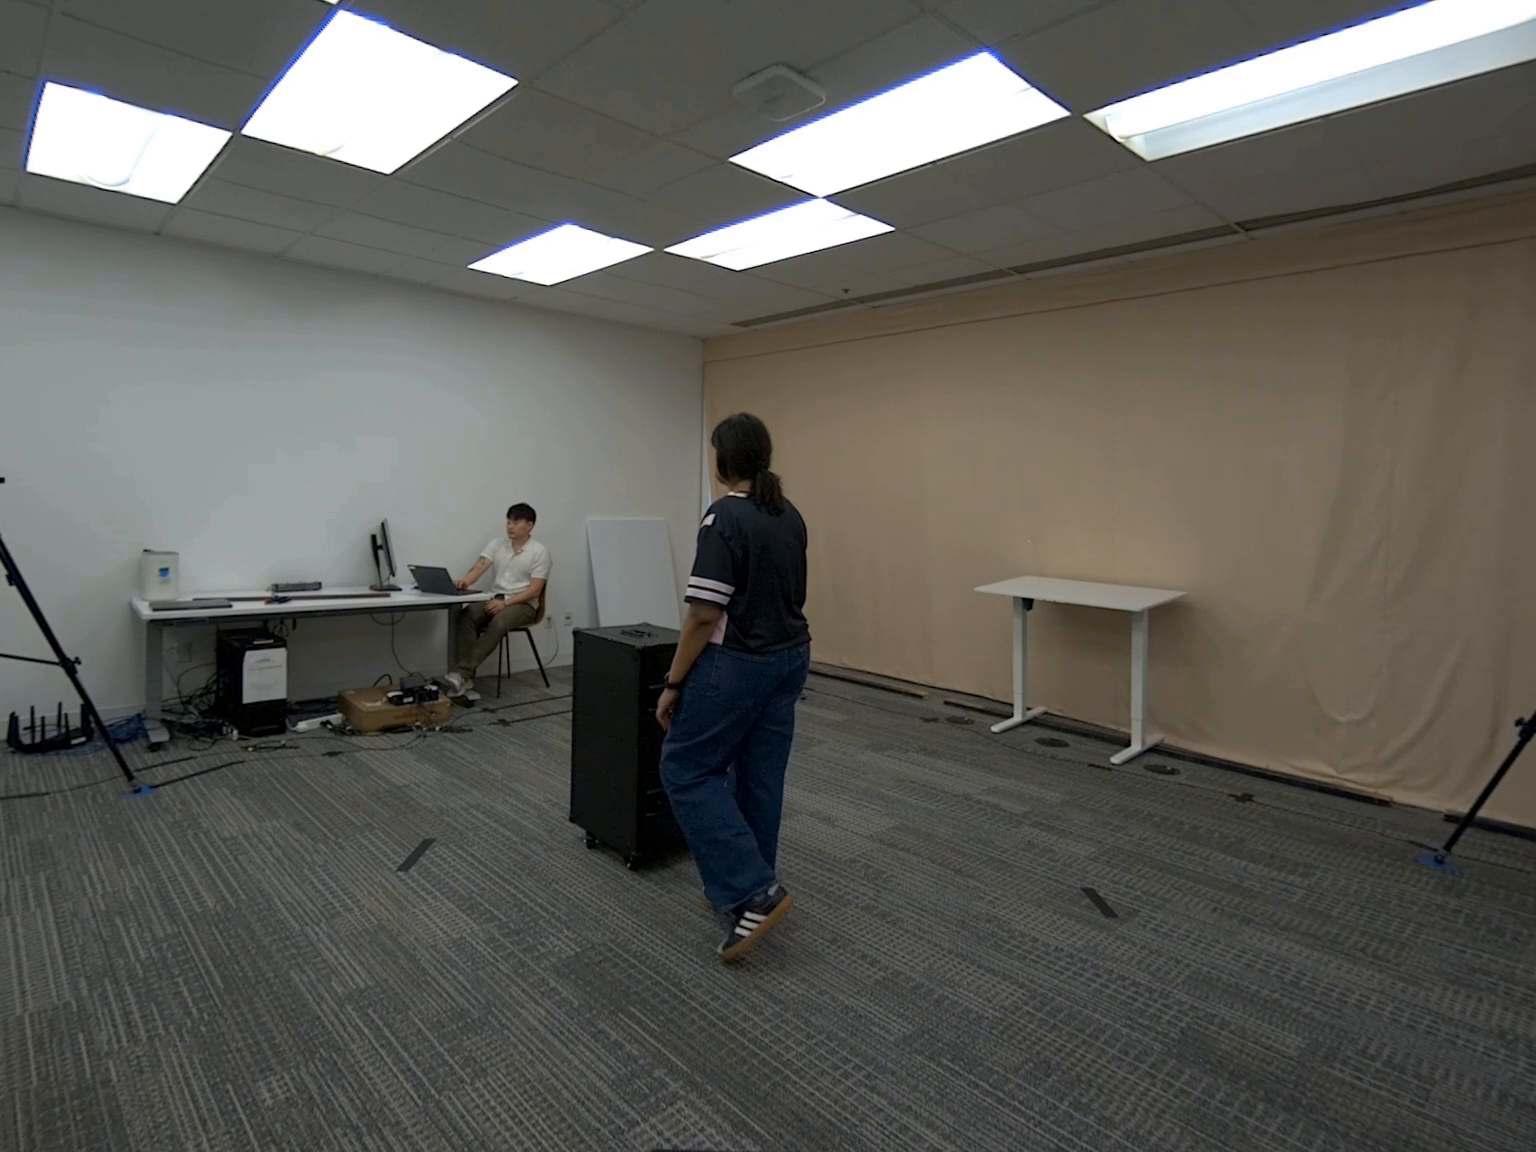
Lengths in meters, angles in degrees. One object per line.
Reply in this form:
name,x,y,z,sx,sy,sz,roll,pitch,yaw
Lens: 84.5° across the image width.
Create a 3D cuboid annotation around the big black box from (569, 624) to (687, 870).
big black box,-0.515,0.655,3.328,0.376,0.866,0.537,-1,4,-43
